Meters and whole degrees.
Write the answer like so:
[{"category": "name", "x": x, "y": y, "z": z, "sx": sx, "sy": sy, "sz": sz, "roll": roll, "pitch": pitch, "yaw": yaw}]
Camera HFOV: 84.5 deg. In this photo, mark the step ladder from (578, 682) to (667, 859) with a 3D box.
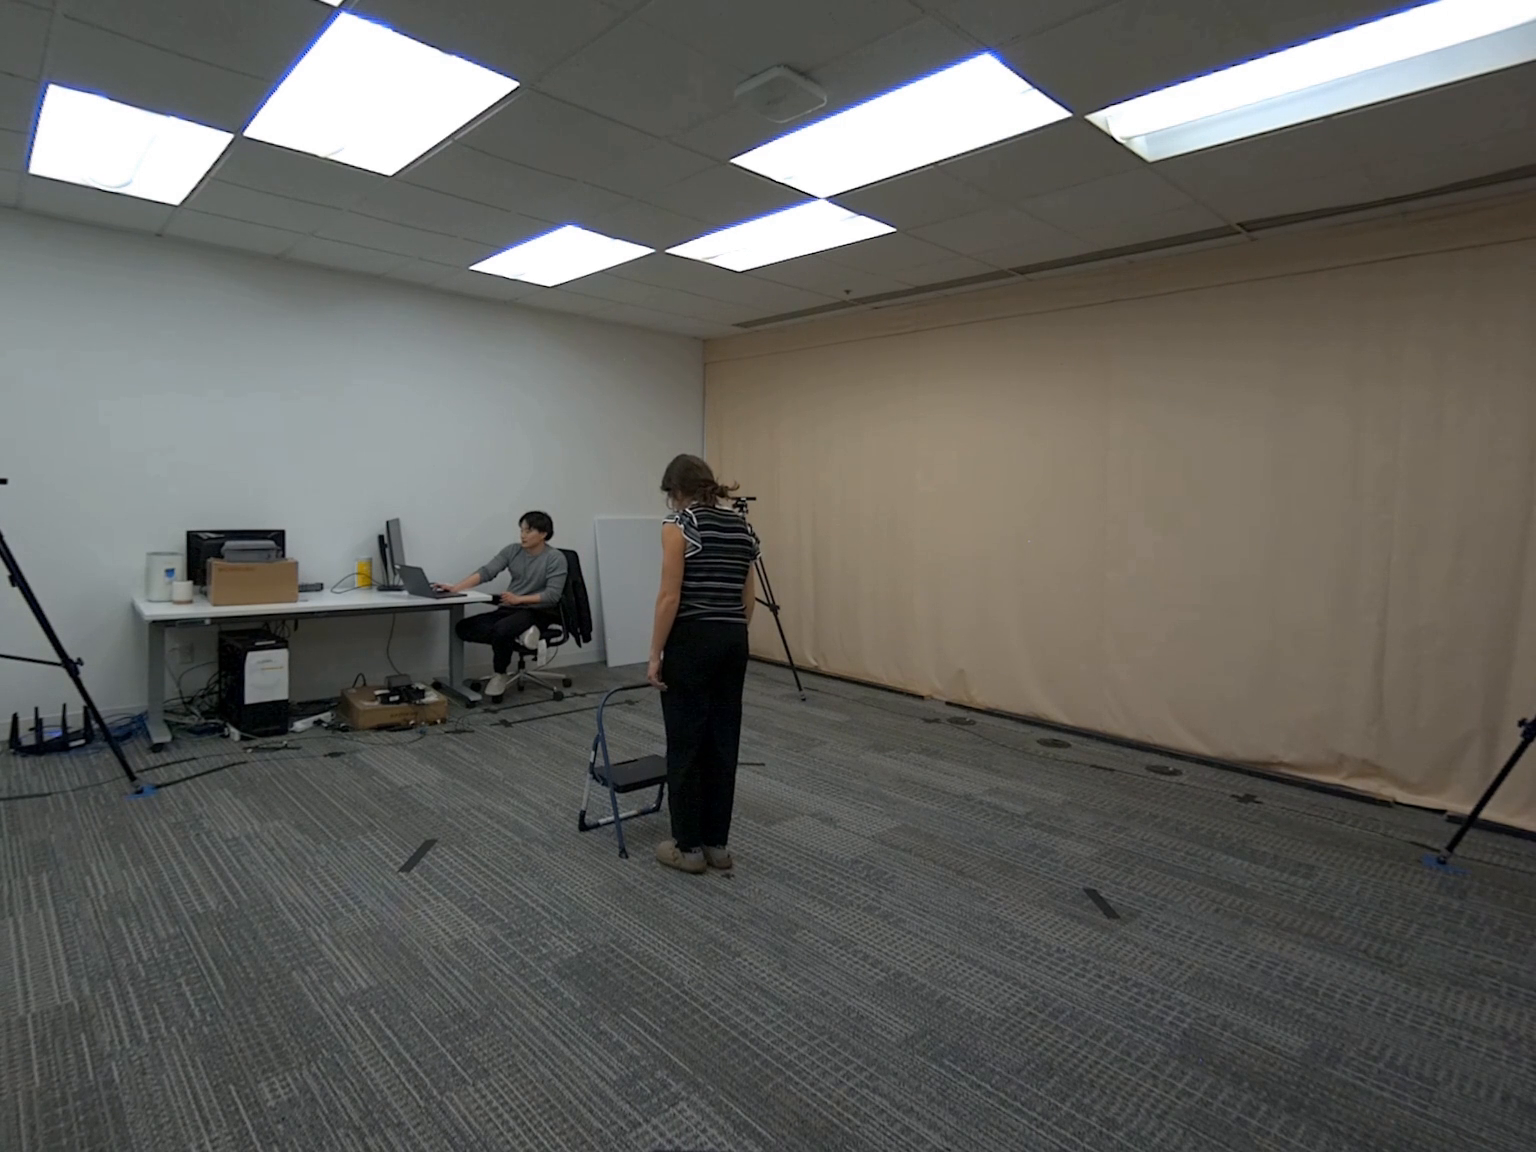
[{"category": "step ladder", "x": -0.522, "y": 0.764, "z": 3.485, "sx": 0.421, "sy": 0.604, "sz": 0.358, "roll": -2, "pitch": 5, "yaw": -43}]
